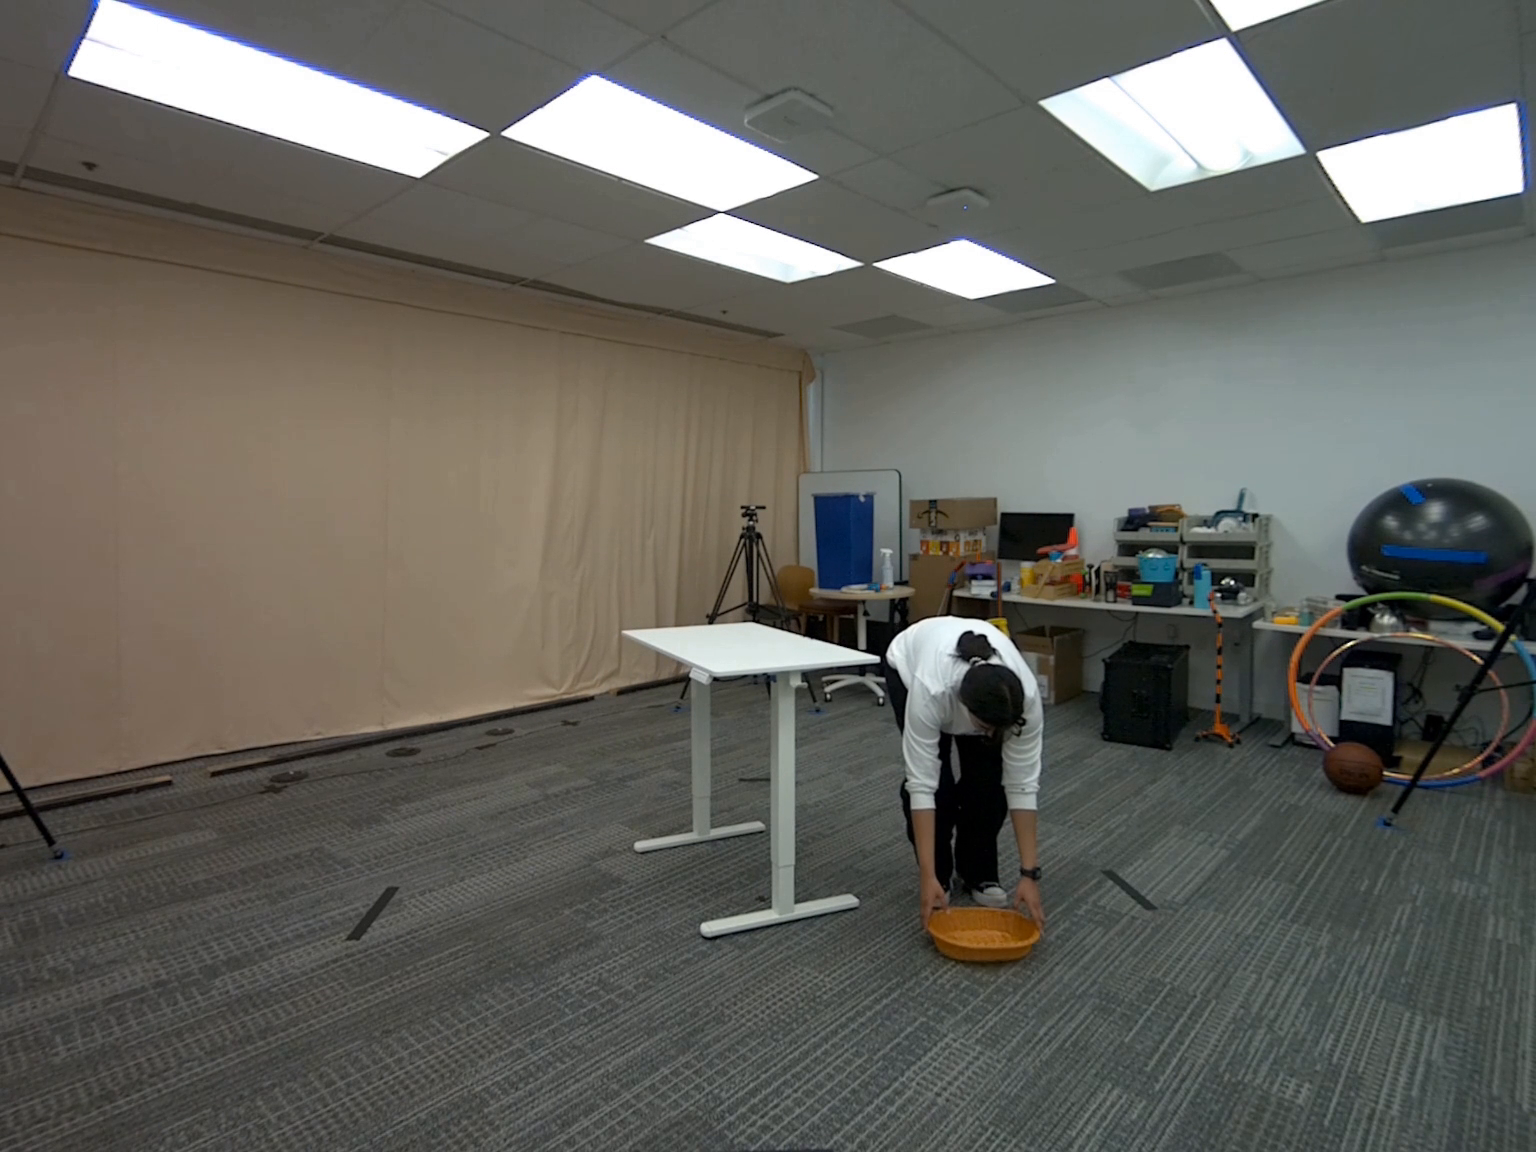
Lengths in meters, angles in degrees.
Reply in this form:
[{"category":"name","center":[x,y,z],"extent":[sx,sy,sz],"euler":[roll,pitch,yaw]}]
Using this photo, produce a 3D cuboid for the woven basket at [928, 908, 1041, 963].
[{"category":"woven basket","center":[0.675,1.116,2.642],"extent":[0.351,0.073,0.253],"euler":[0,5,0]}]
